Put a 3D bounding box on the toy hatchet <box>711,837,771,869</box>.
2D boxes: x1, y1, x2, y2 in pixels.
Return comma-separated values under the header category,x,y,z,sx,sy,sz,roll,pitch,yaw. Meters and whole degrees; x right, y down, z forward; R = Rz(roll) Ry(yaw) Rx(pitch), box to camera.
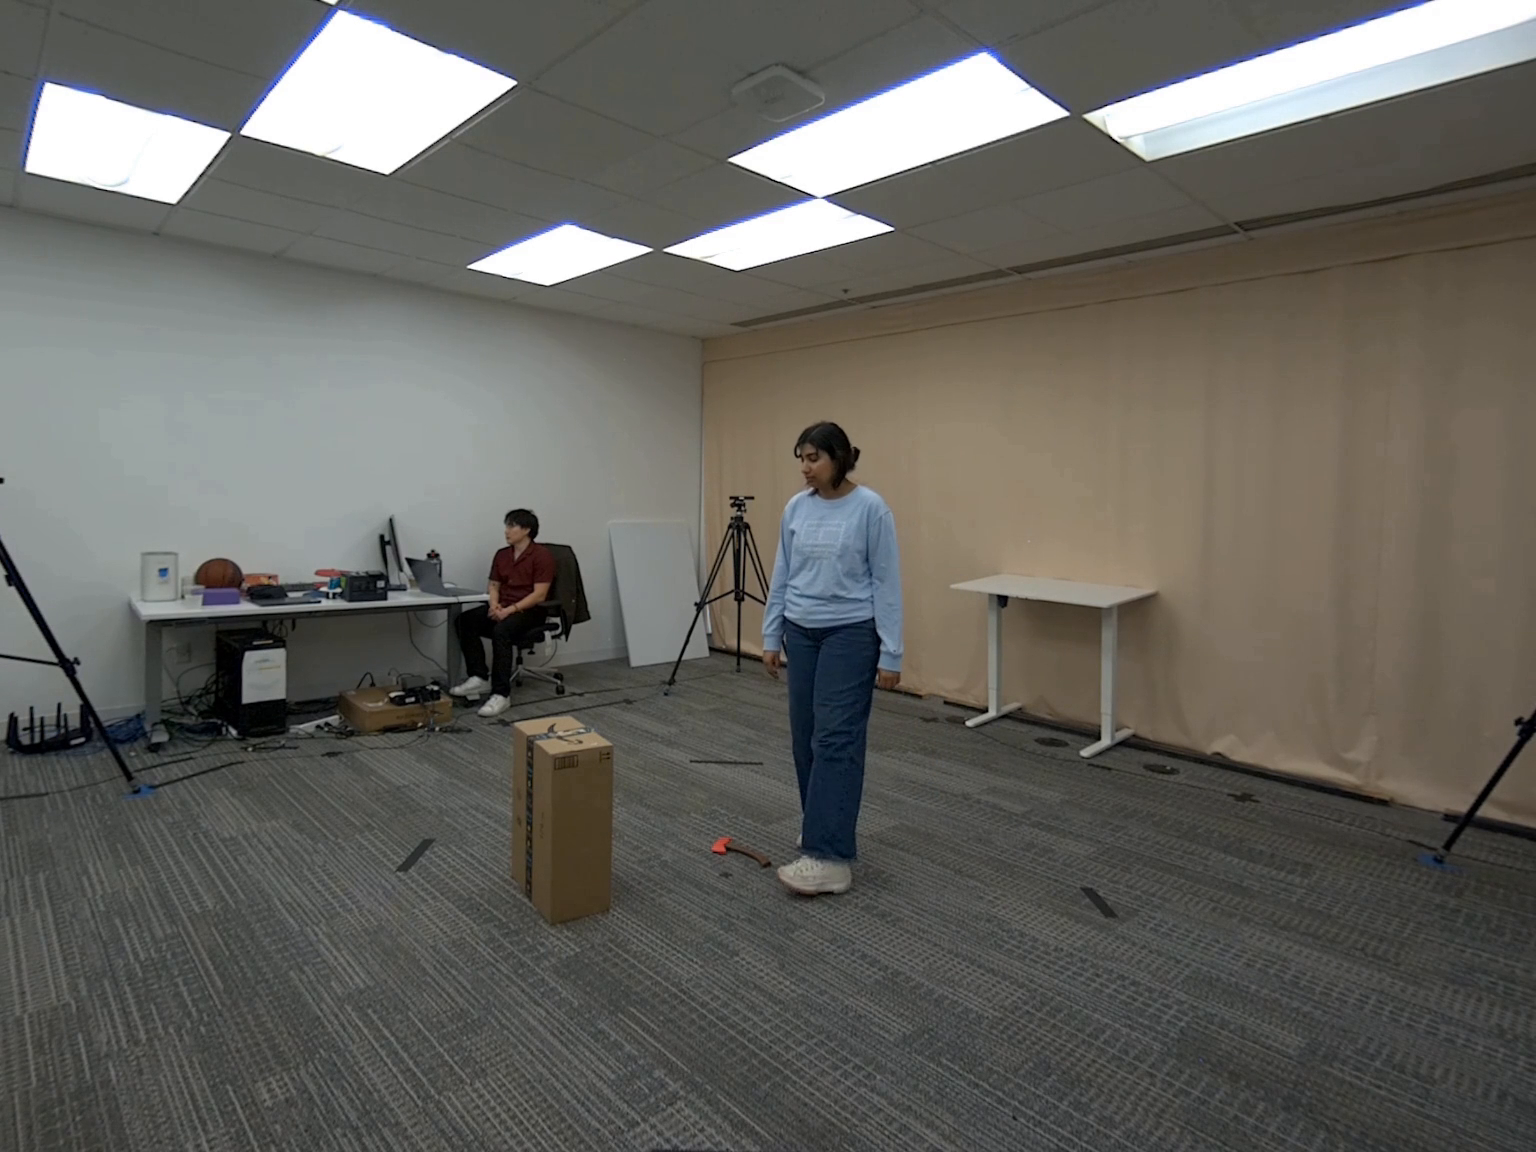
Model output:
category,x,y,z,sx,sy,sz,roll,pitch,yaw
toy hatchet,-0.125,1.078,3.260,0.128,0.029,0.277,-2,8,-38
